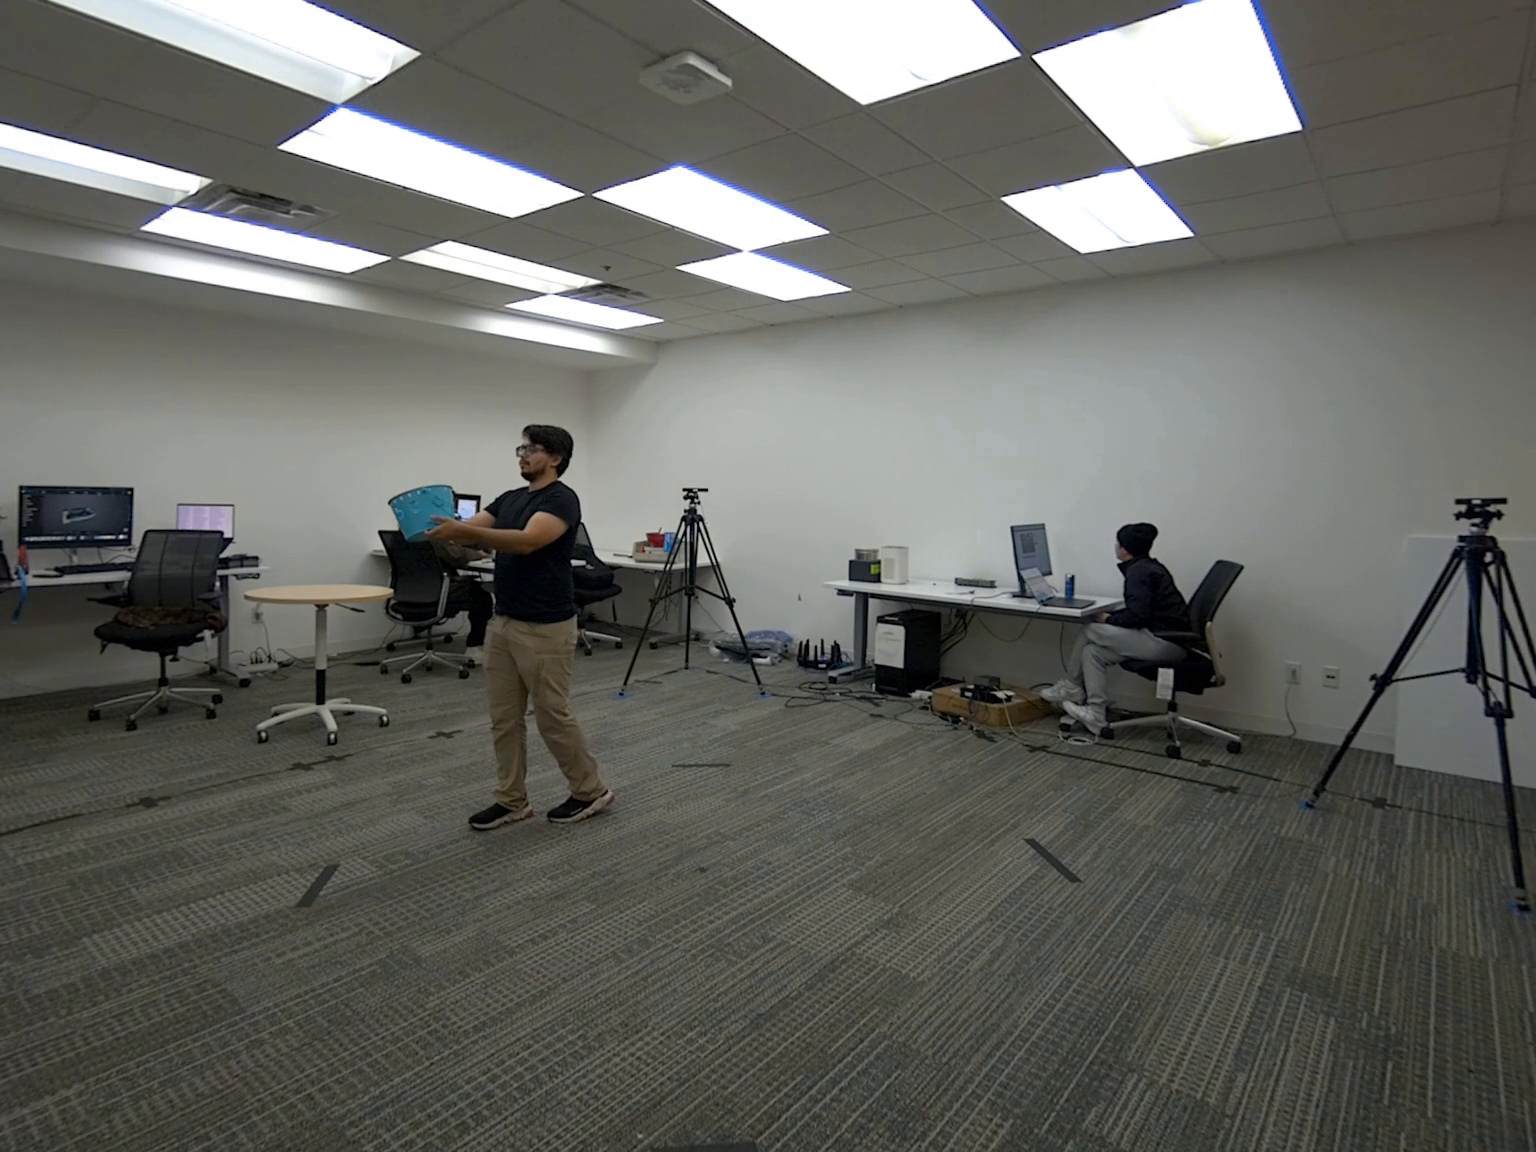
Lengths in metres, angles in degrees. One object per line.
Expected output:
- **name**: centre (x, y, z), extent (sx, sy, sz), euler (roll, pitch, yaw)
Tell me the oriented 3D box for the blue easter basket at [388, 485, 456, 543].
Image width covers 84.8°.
- **blue easter basket**: centre (-1.288, -0.233, 3.143), extent (0.243, 0.157, 0.242), euler (-20, -4, -4)
